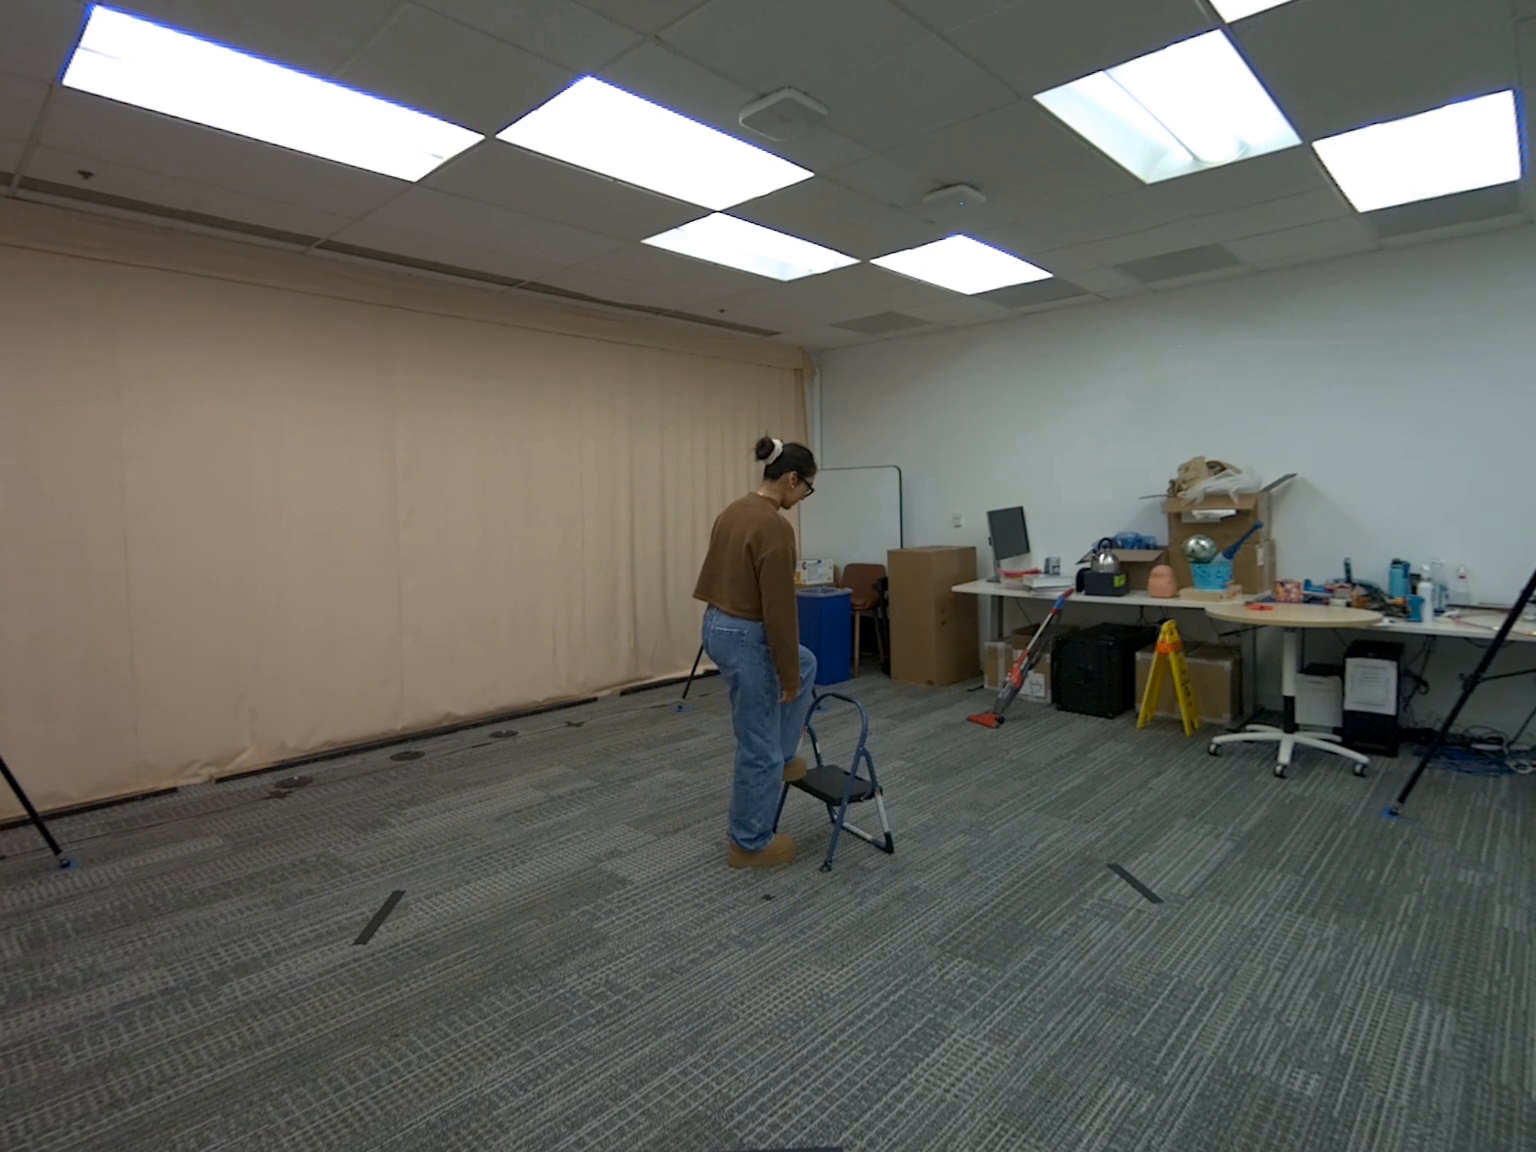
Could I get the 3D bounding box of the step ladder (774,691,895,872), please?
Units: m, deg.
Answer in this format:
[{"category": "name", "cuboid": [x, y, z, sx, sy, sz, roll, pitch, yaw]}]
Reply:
[{"category": "step ladder", "cuboid": [0.253, 0.793, 3.428, 0.340, 0.605, 0.443, -3, 4, -30]}]
